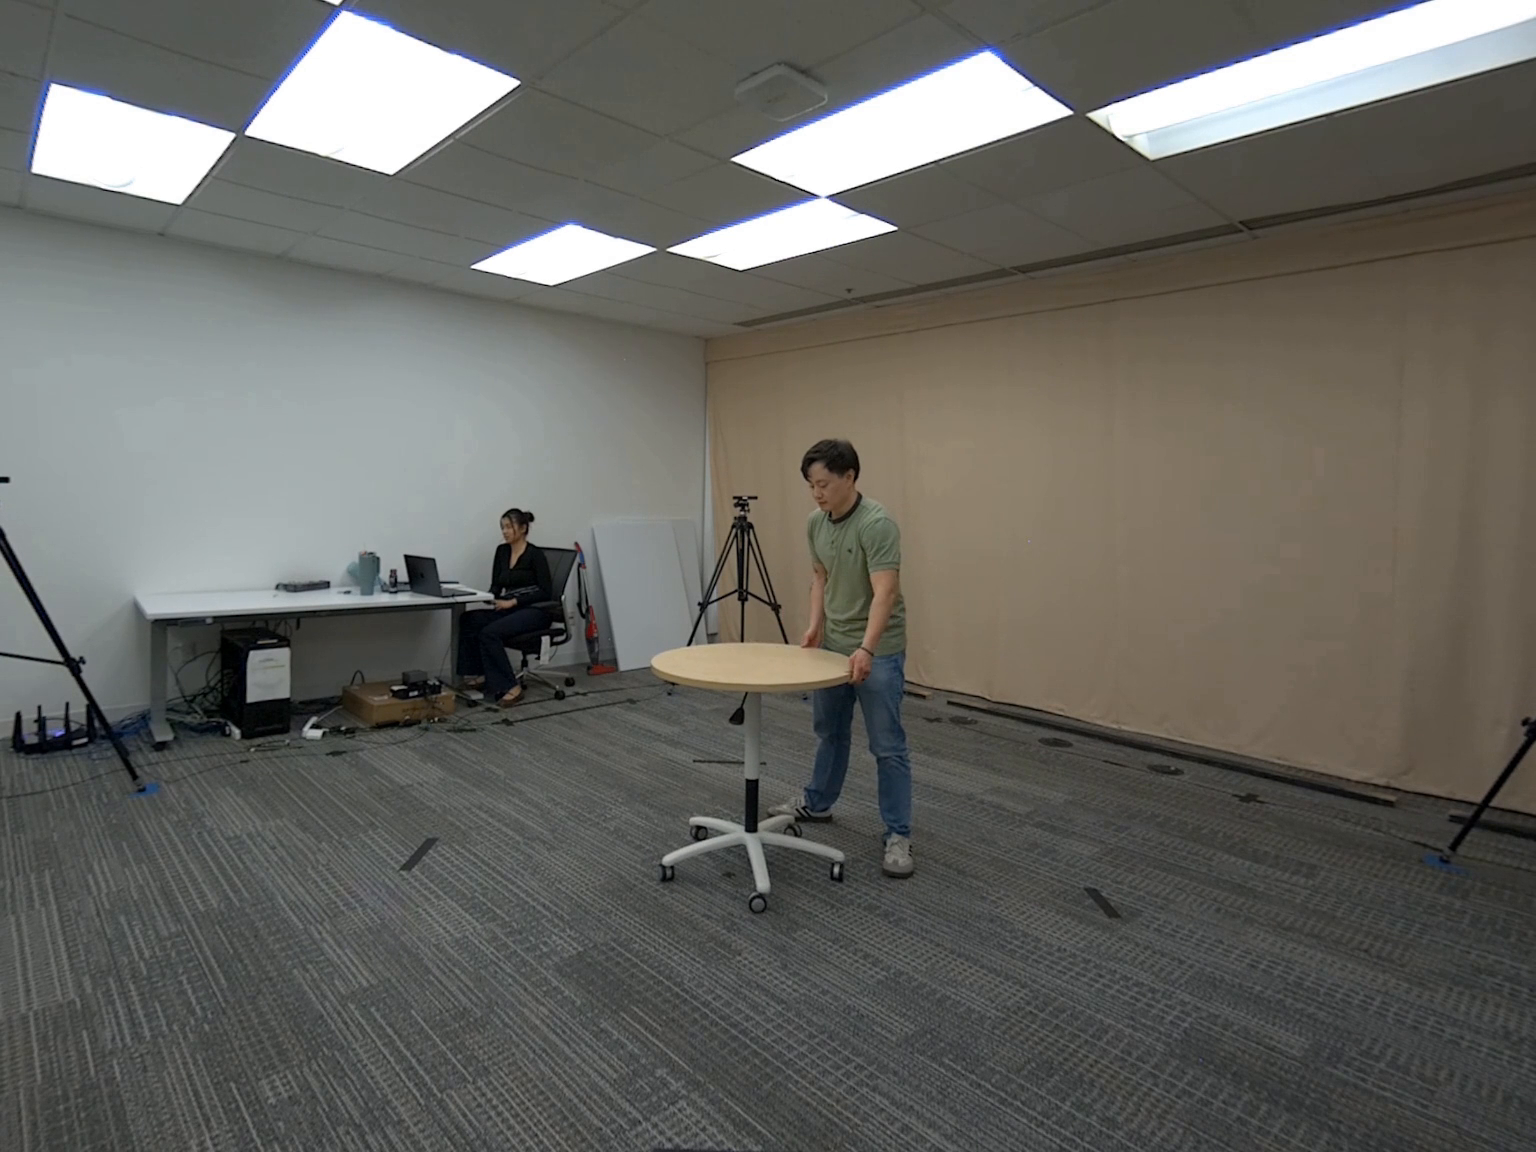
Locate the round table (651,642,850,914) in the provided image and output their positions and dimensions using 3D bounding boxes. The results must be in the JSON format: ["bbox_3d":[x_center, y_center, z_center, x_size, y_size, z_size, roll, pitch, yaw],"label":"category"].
[{"bbox_3d":[-0.069,0.712,3.143,0.763,0.792,0.766,1,4,-1],"label":"round table"}]
